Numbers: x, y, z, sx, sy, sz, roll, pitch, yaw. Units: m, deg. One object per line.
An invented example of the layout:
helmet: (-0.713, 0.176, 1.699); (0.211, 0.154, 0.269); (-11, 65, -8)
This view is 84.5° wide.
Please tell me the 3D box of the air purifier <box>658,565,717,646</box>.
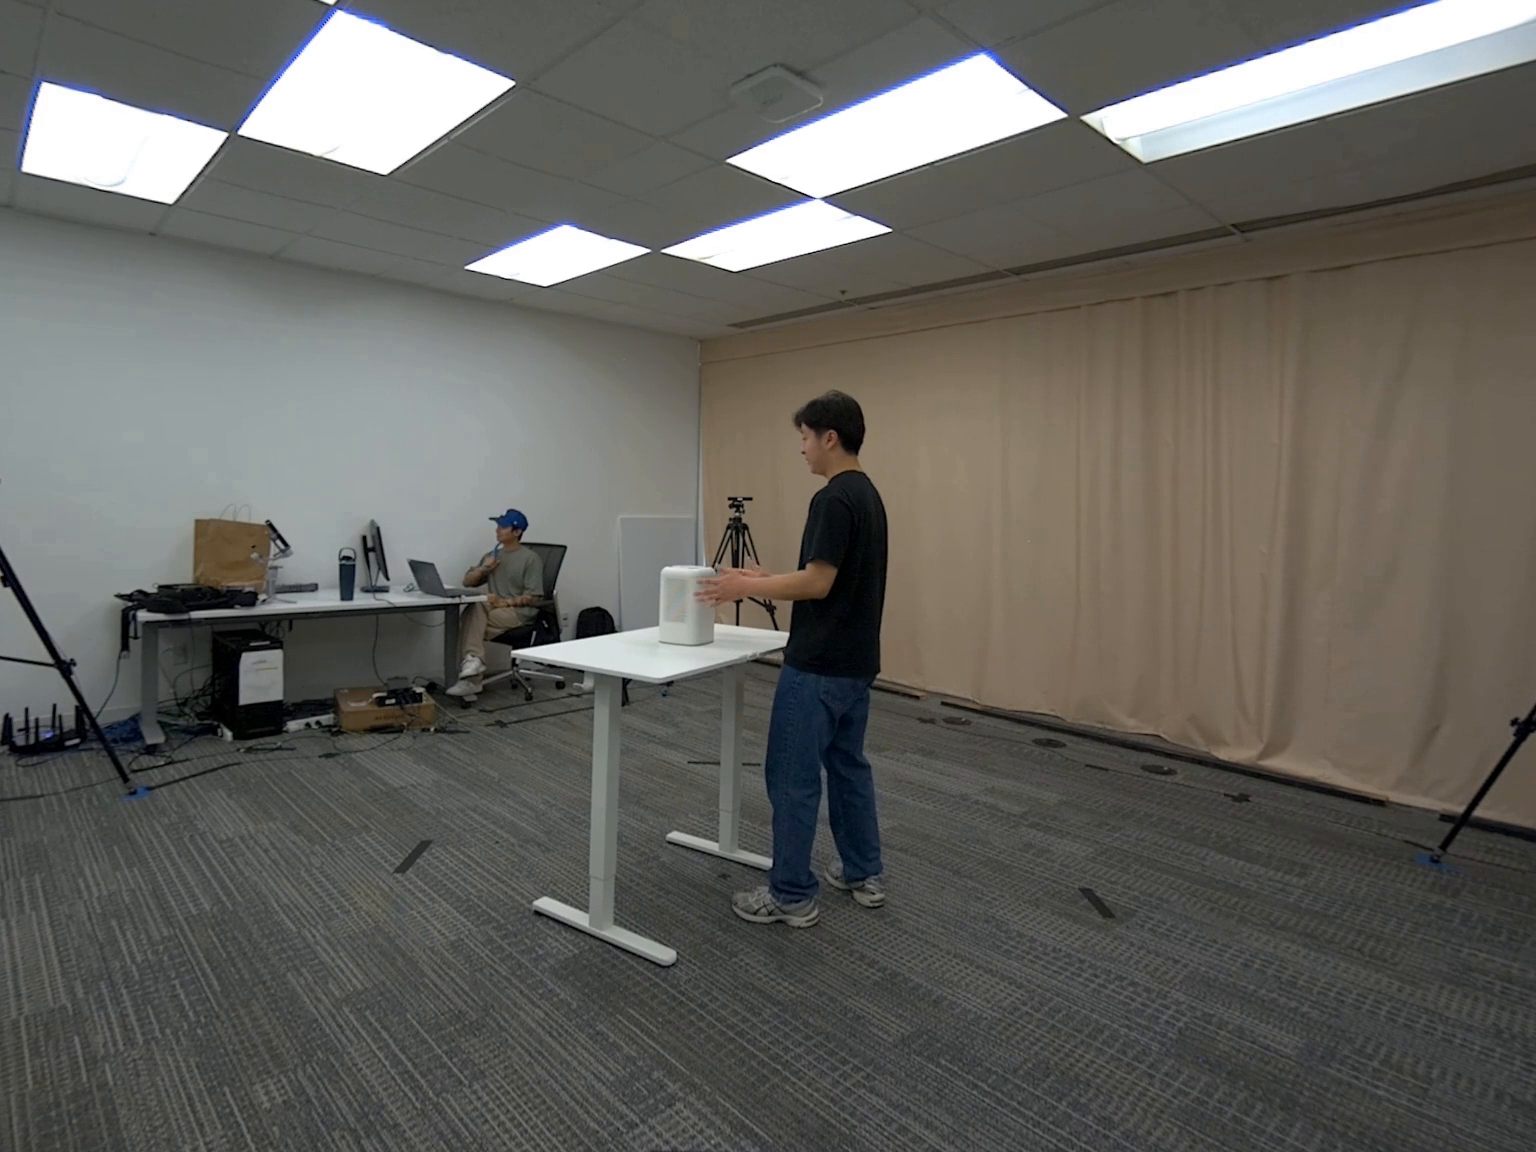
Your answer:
air purifier: (-0.284, 0.100, 2.978); (0.175, 0.265, 0.168); (4, 4, 25)
